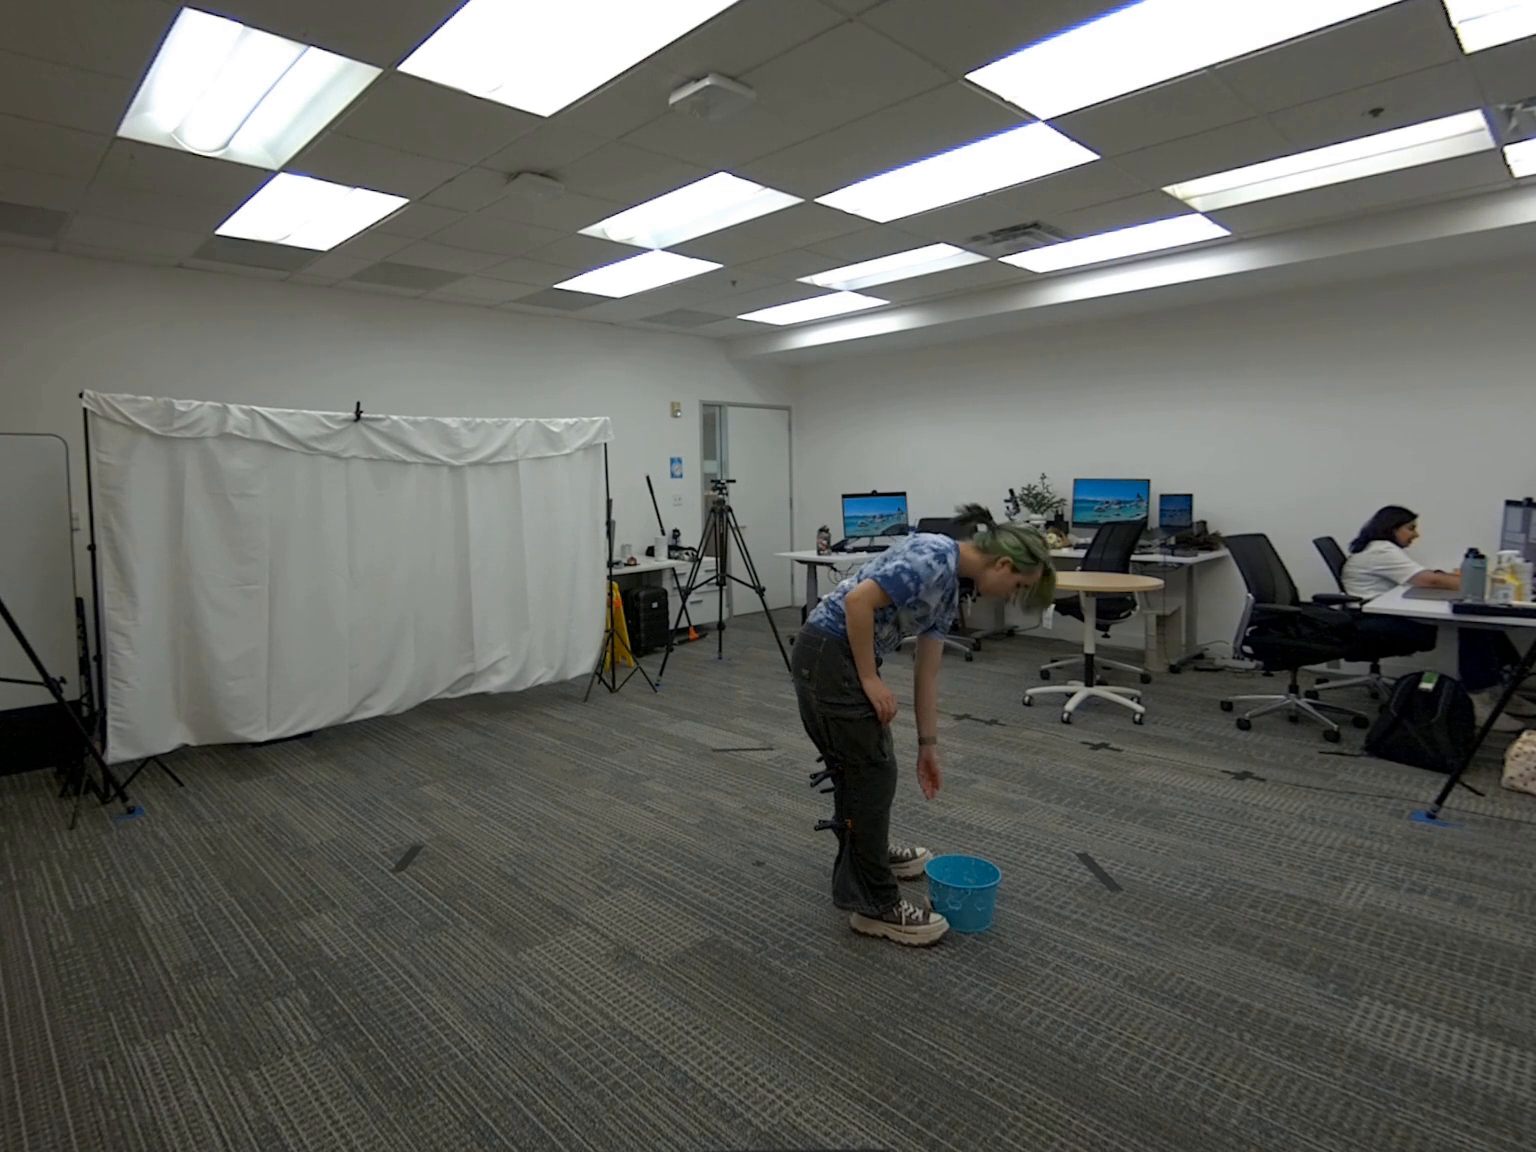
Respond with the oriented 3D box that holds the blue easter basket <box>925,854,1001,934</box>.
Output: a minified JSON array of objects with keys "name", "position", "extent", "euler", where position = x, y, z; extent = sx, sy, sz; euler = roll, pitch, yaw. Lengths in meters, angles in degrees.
[{"name":"blue easter basket","position":[0.621,1.005,2.707],"extent":[0.243,0.155,0.245],"euler":[0,6,-2]}]
